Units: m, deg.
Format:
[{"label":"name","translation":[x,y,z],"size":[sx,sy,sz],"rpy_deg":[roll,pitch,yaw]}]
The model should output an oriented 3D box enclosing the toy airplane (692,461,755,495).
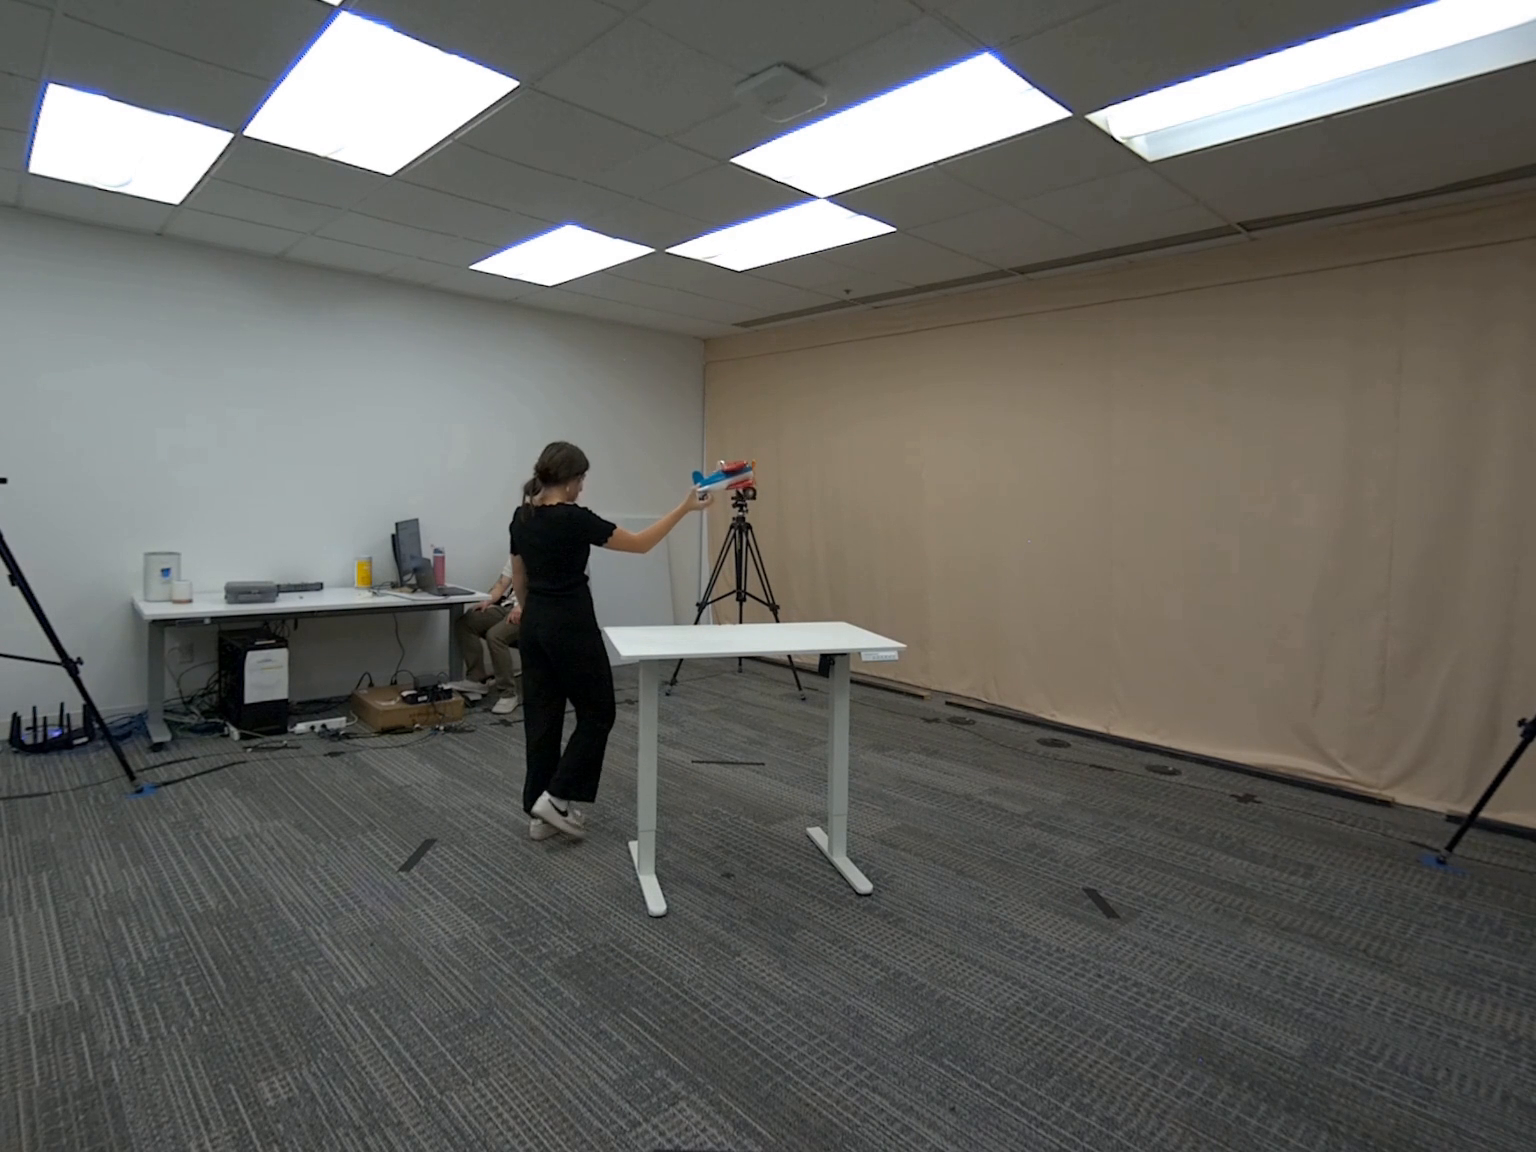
[{"label":"toy airplane","translation":[-0.173,-0.378,3.338],"size":[0.257,0.156,0.254],"rpy_deg":[1,7,44]}]
